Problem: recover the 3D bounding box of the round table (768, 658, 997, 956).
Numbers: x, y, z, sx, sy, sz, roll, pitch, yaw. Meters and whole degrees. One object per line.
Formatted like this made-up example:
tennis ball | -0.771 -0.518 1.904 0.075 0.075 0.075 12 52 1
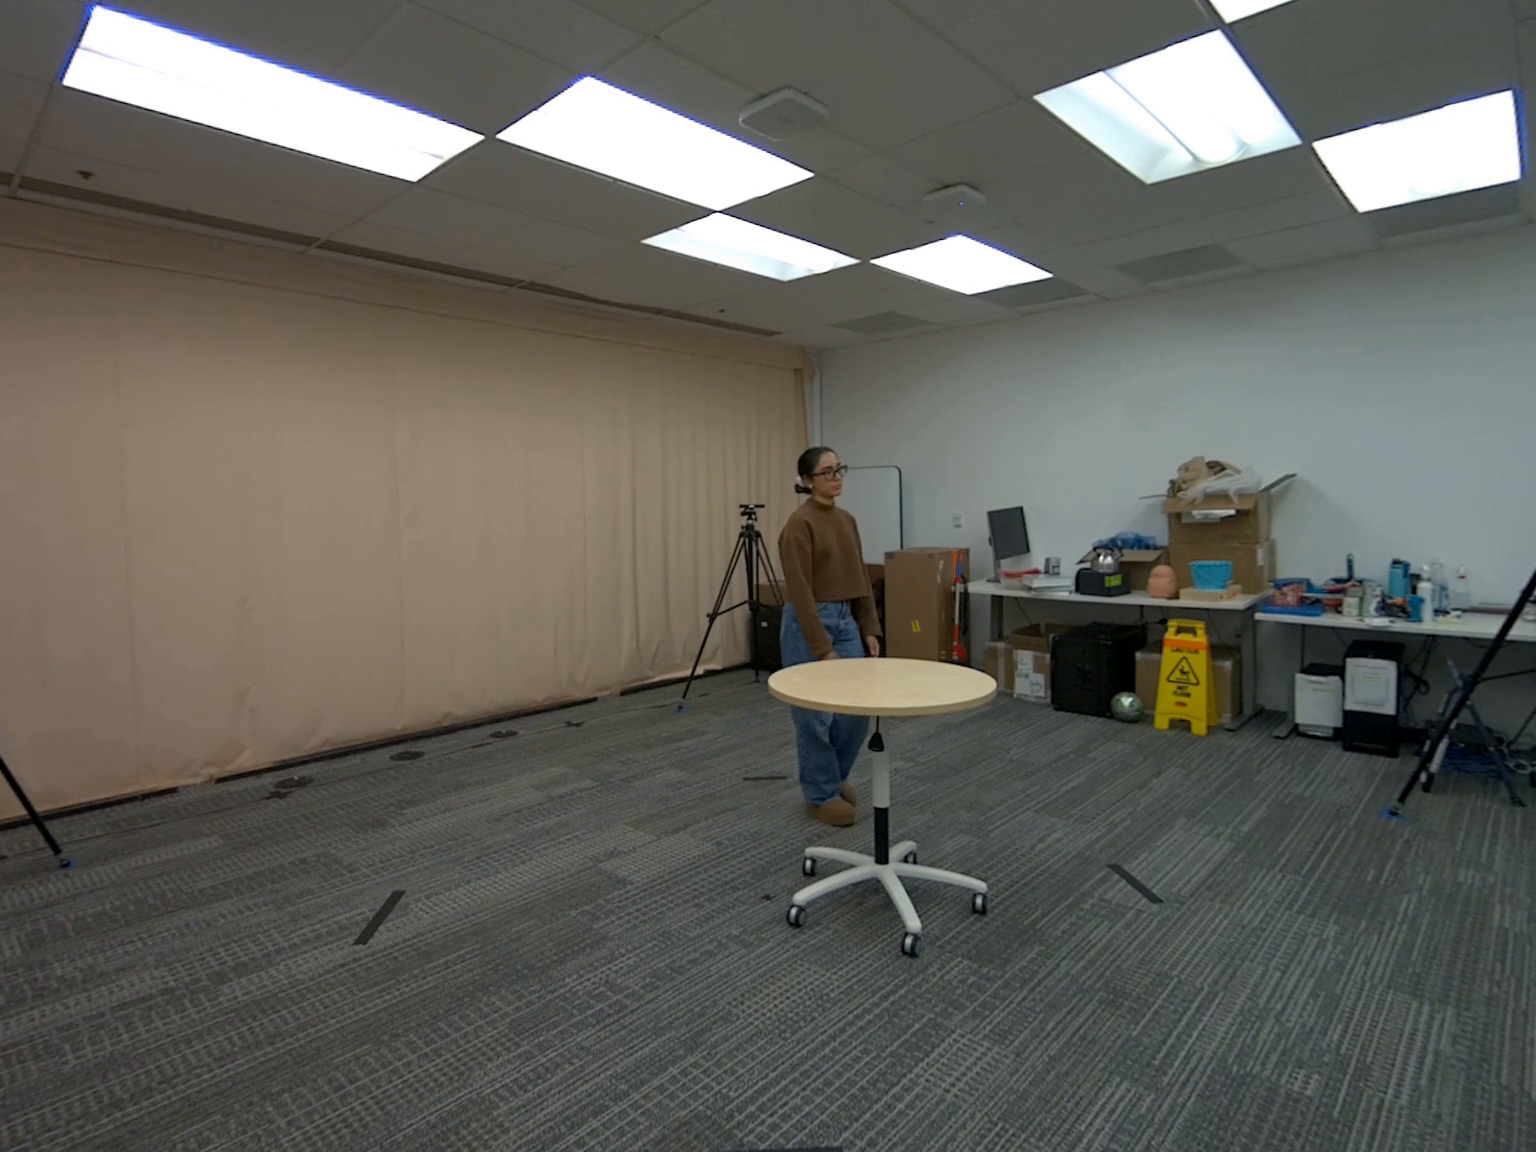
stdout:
round table | 0.391 0.747 2.916 0.763 0.792 0.767 -1 4 -2
